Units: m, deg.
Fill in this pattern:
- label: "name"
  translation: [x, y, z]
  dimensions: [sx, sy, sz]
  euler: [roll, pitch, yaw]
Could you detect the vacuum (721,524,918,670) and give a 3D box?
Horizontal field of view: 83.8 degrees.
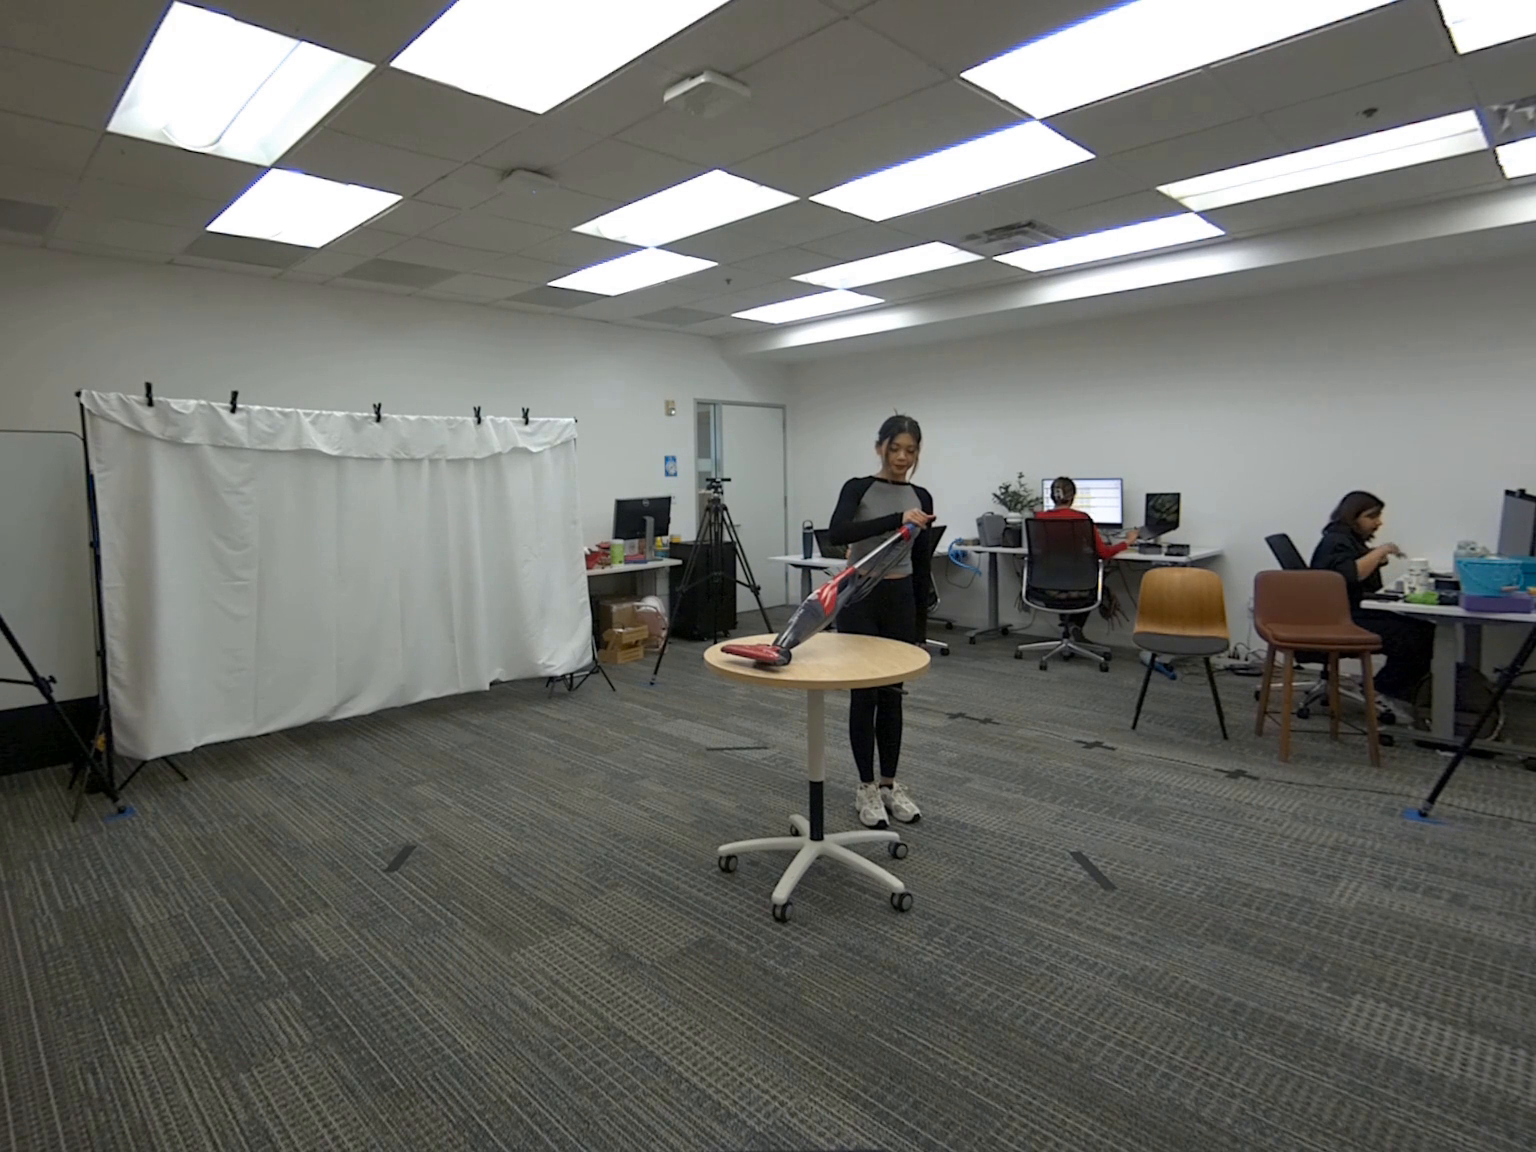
- label: "vacuum"
  translation: [0.311, 0.030, 3.060]
  dimensions: [0.260, 0.141, 1.041]
  euler: [5, 32, 44]
